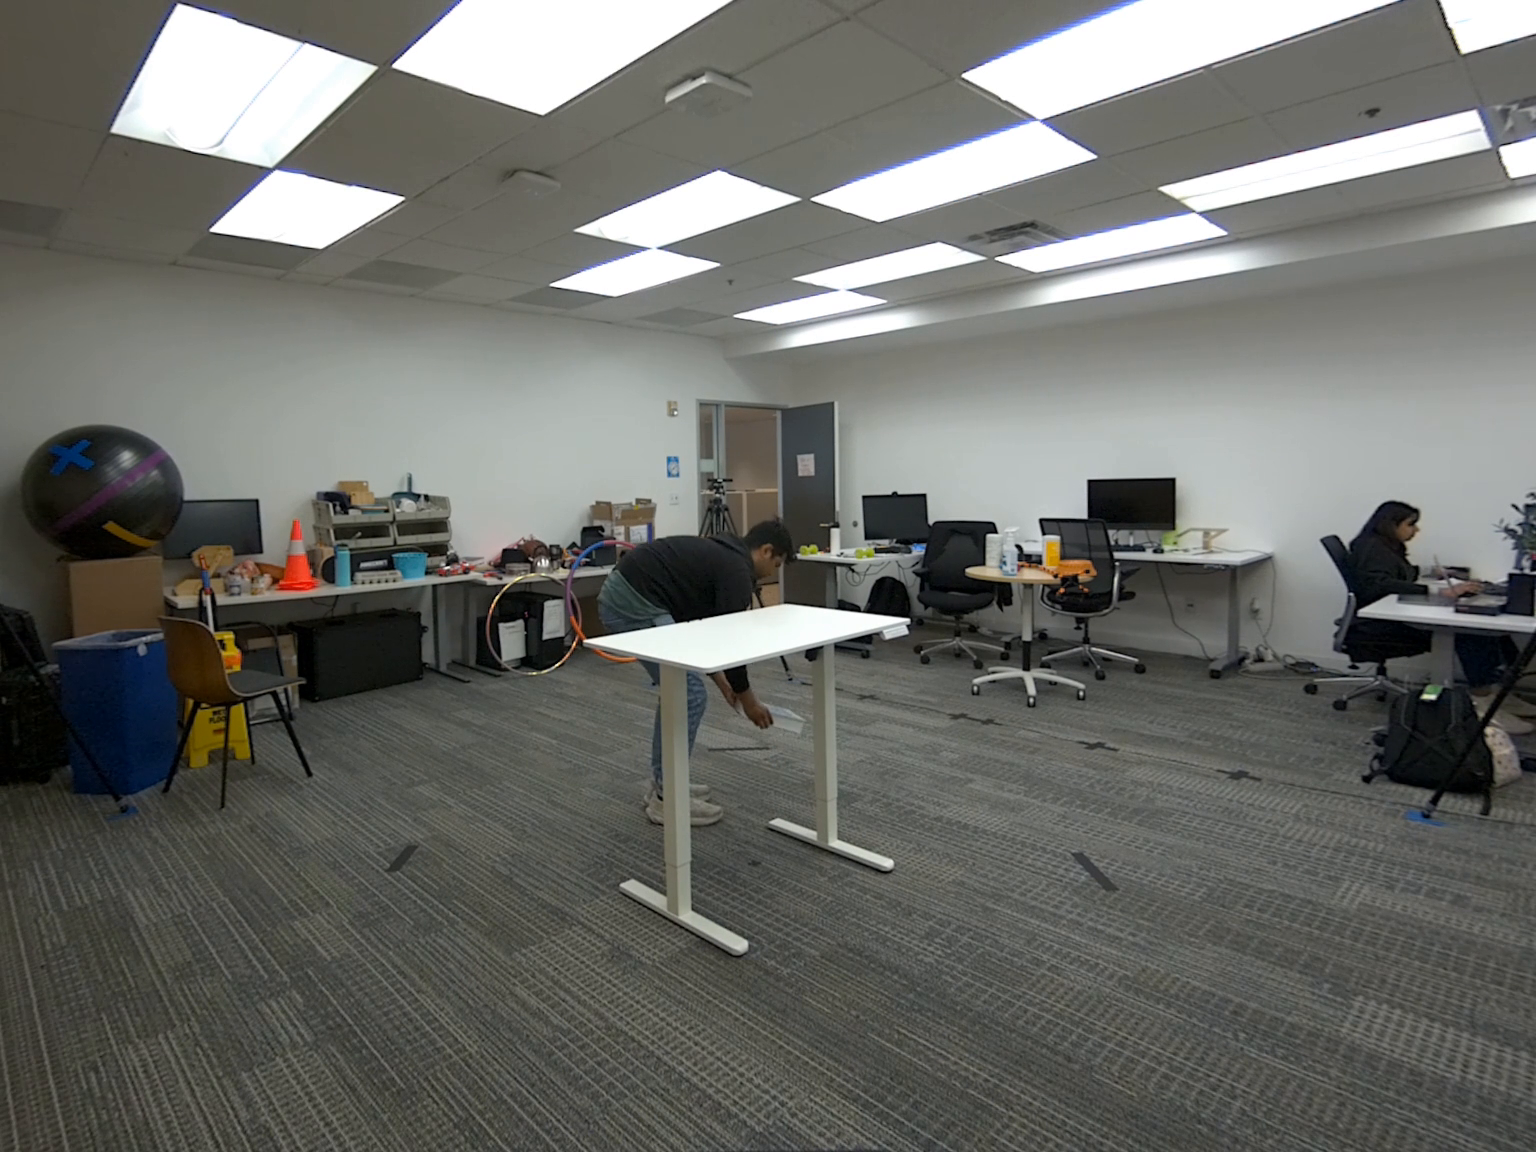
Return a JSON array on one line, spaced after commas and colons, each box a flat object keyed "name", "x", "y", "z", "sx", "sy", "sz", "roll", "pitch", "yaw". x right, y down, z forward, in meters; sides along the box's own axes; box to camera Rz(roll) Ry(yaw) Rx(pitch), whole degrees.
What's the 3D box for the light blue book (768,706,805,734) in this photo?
[{"name": "light blue book", "x": 0.009, "y": 0.602, "z": 3.768, "sx": 0.256, "sy": 0.059, "sz": 0.195, "roll": 17, "pitch": 0, "yaw": -16}]
